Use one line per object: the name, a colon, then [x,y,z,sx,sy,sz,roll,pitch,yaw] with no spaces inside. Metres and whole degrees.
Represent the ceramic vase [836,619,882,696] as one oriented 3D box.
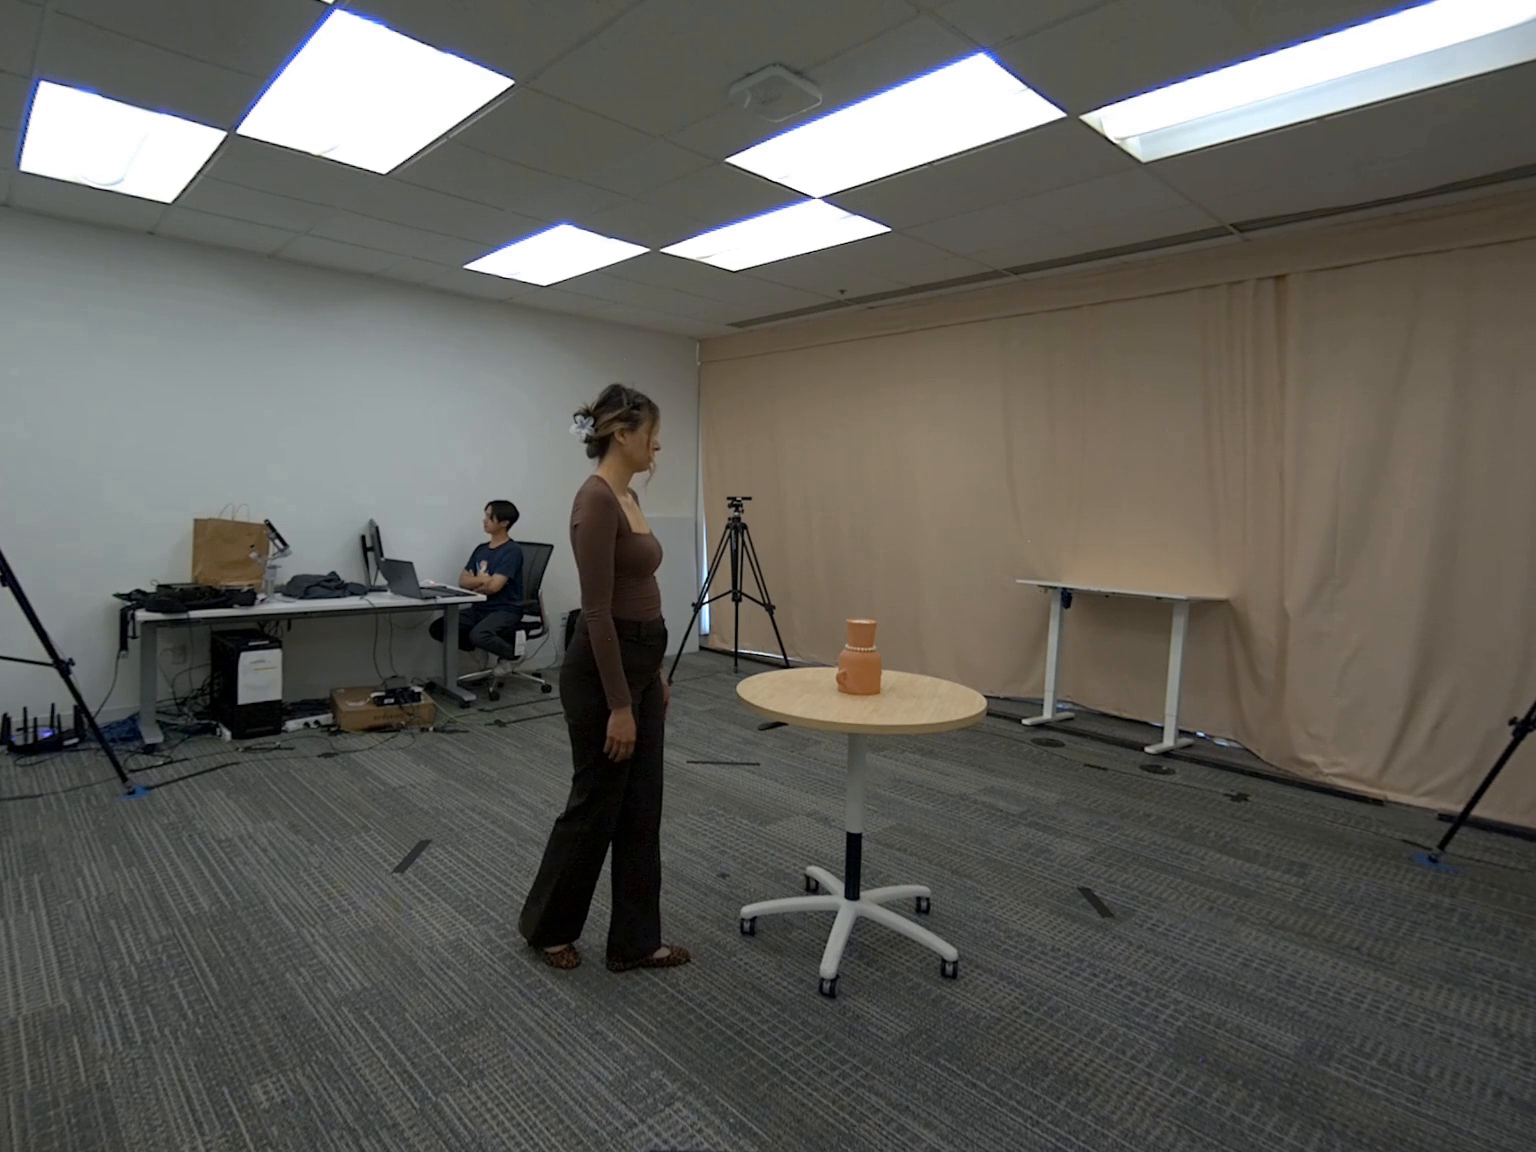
ceramic vase: [0.284,0.253,2.638,0.136,0.219,0.158,4,4,11]
